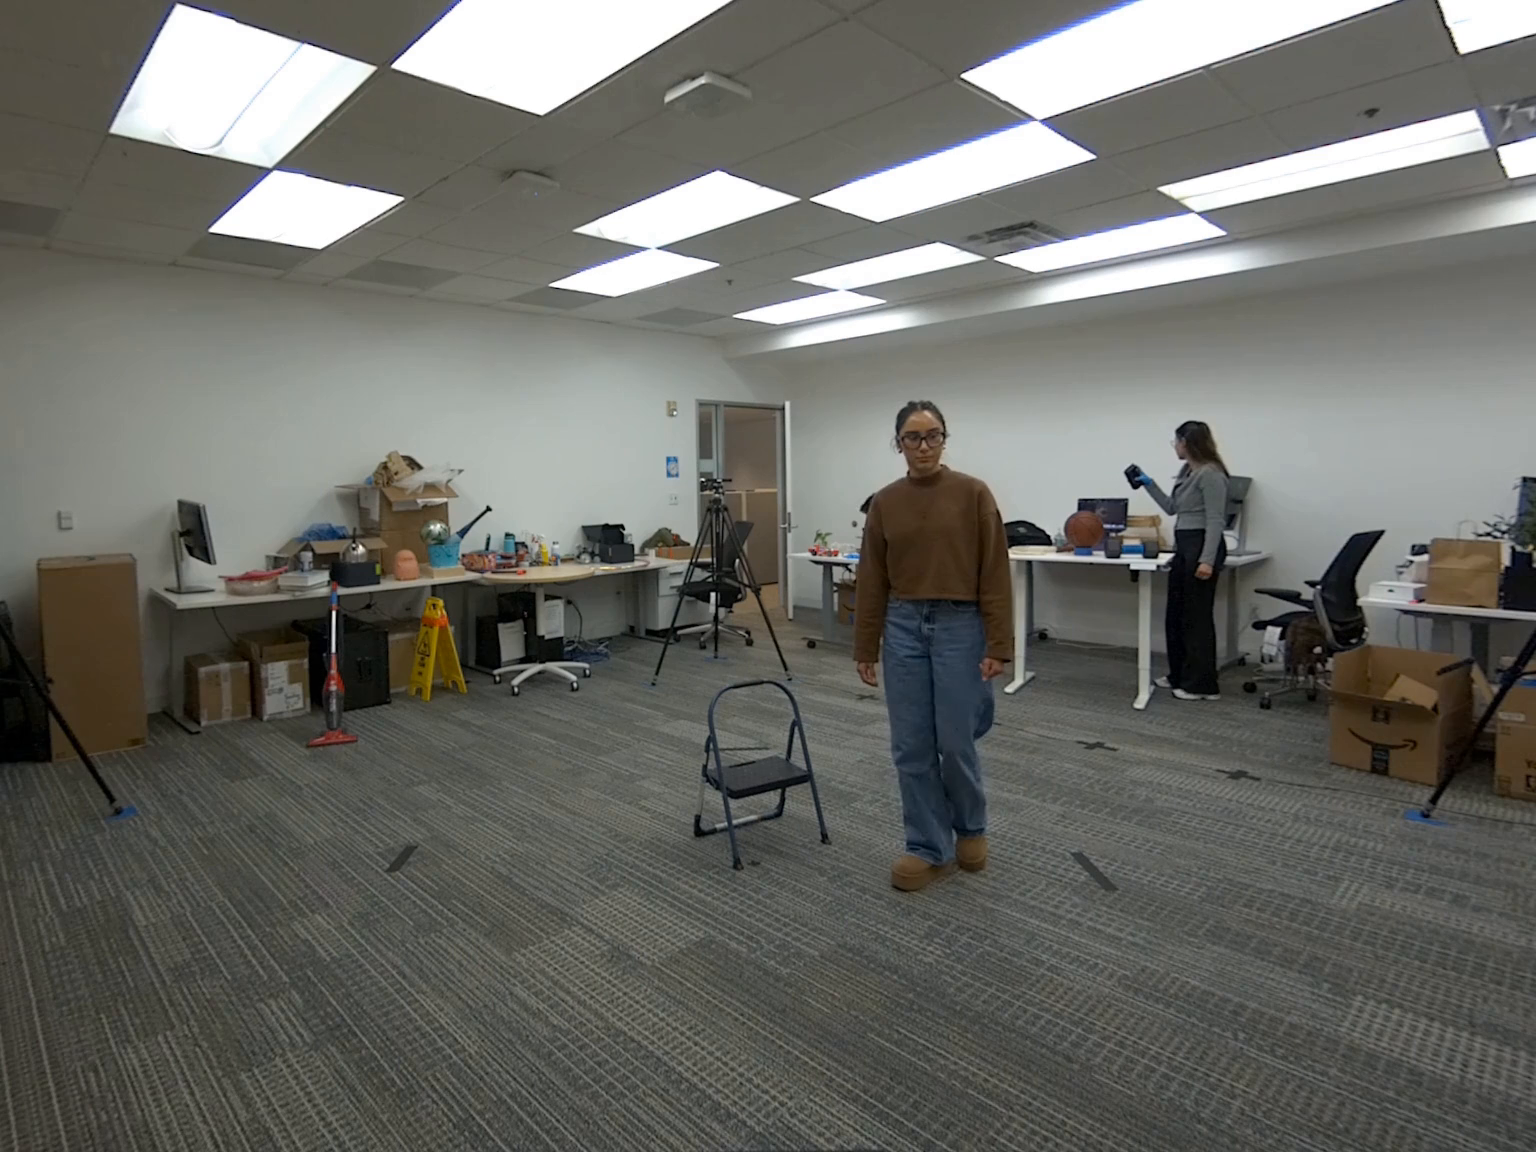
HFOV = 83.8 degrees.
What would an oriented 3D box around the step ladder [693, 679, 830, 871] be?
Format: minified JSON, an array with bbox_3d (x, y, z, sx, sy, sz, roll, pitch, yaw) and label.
[{"bbox_3d":[-0.031,0.716,3.292,0.420,0.604,0.359,-4,5,-33],"label":"step ladder"}]
